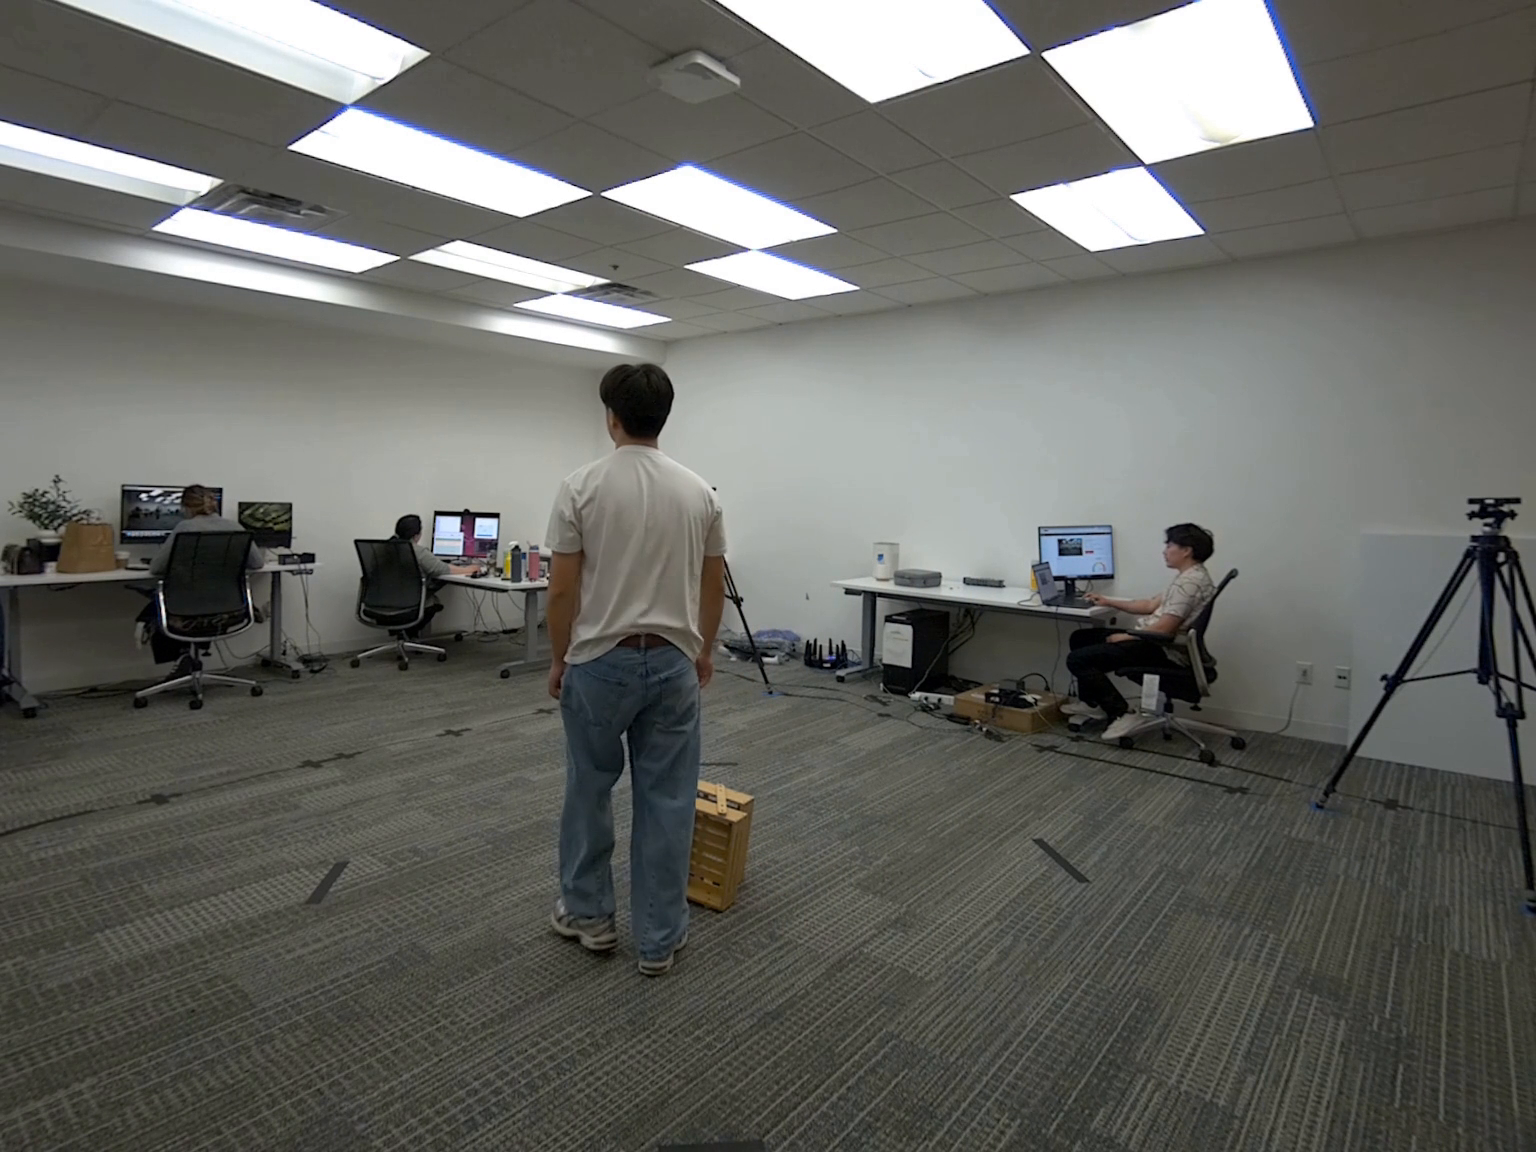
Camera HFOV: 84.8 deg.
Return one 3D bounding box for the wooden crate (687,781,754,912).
[{"bbox_3d":[-0.218,0.913,2.944,0.311,0.324,0.266,9,4,26],"label":"wooden crate"}]
